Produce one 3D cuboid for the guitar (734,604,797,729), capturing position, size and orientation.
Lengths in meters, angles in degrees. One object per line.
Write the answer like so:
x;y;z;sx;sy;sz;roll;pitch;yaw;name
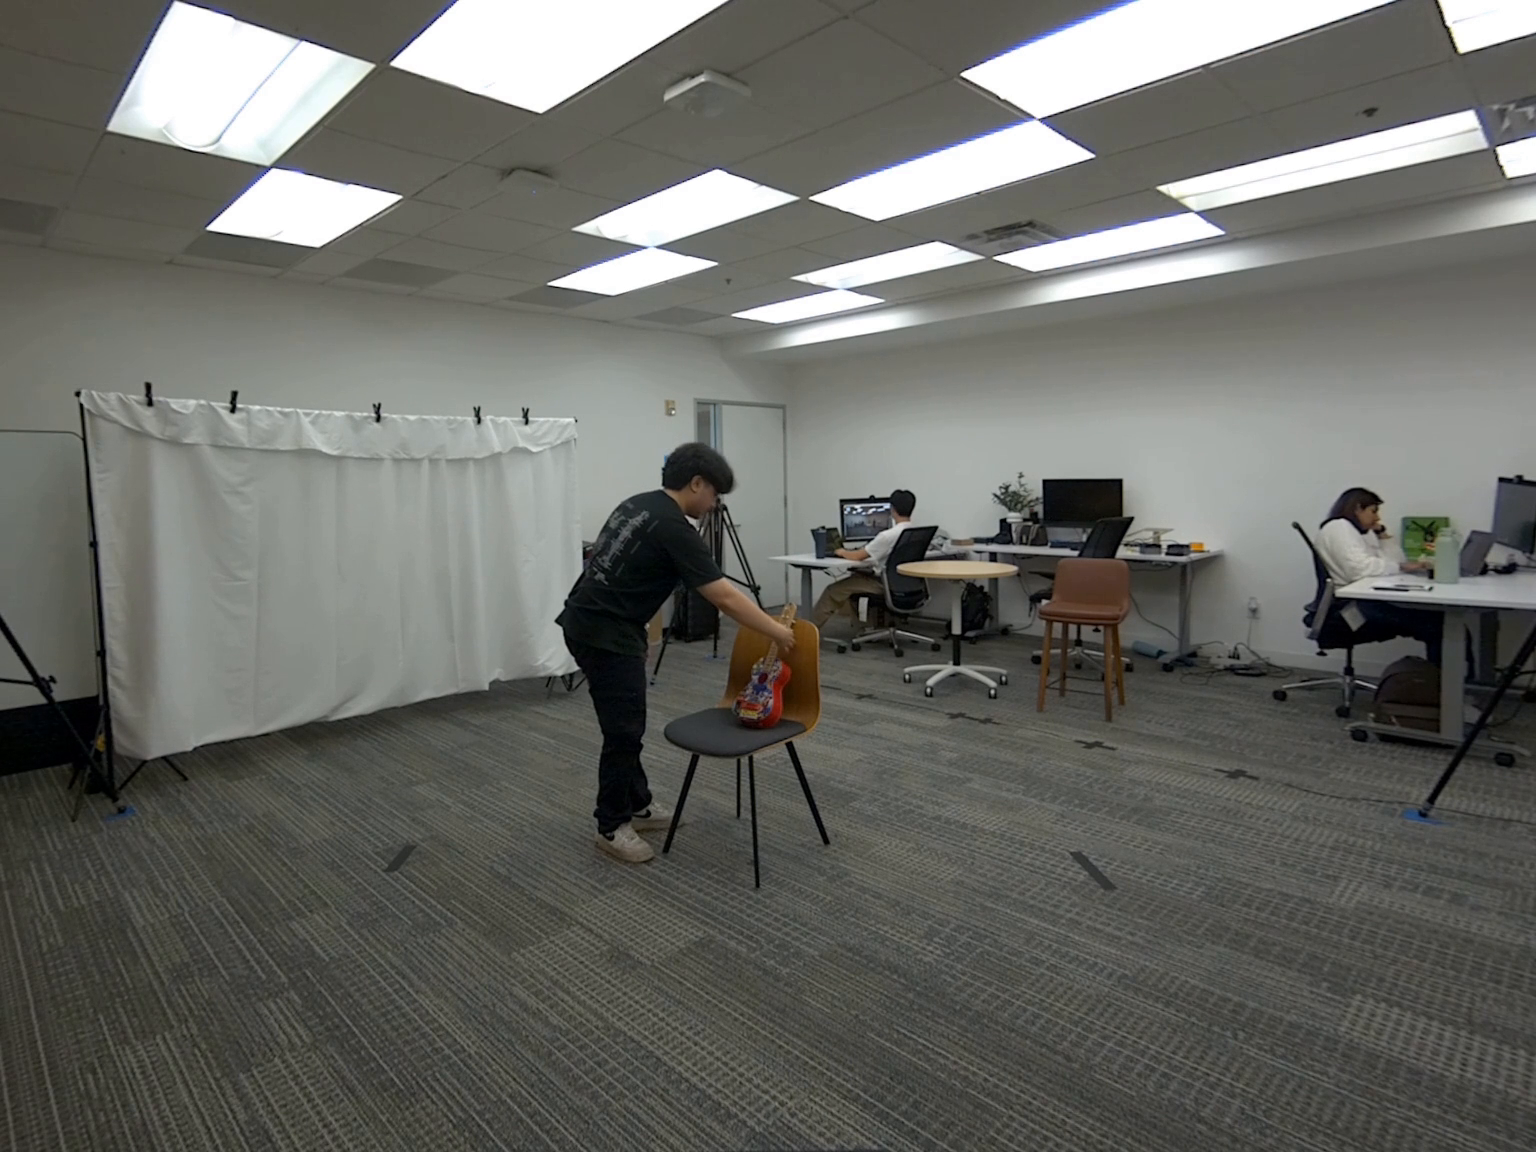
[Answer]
0.031;0.339;3.236;0.199;0.501;0.068;9;-27;45;guitar
